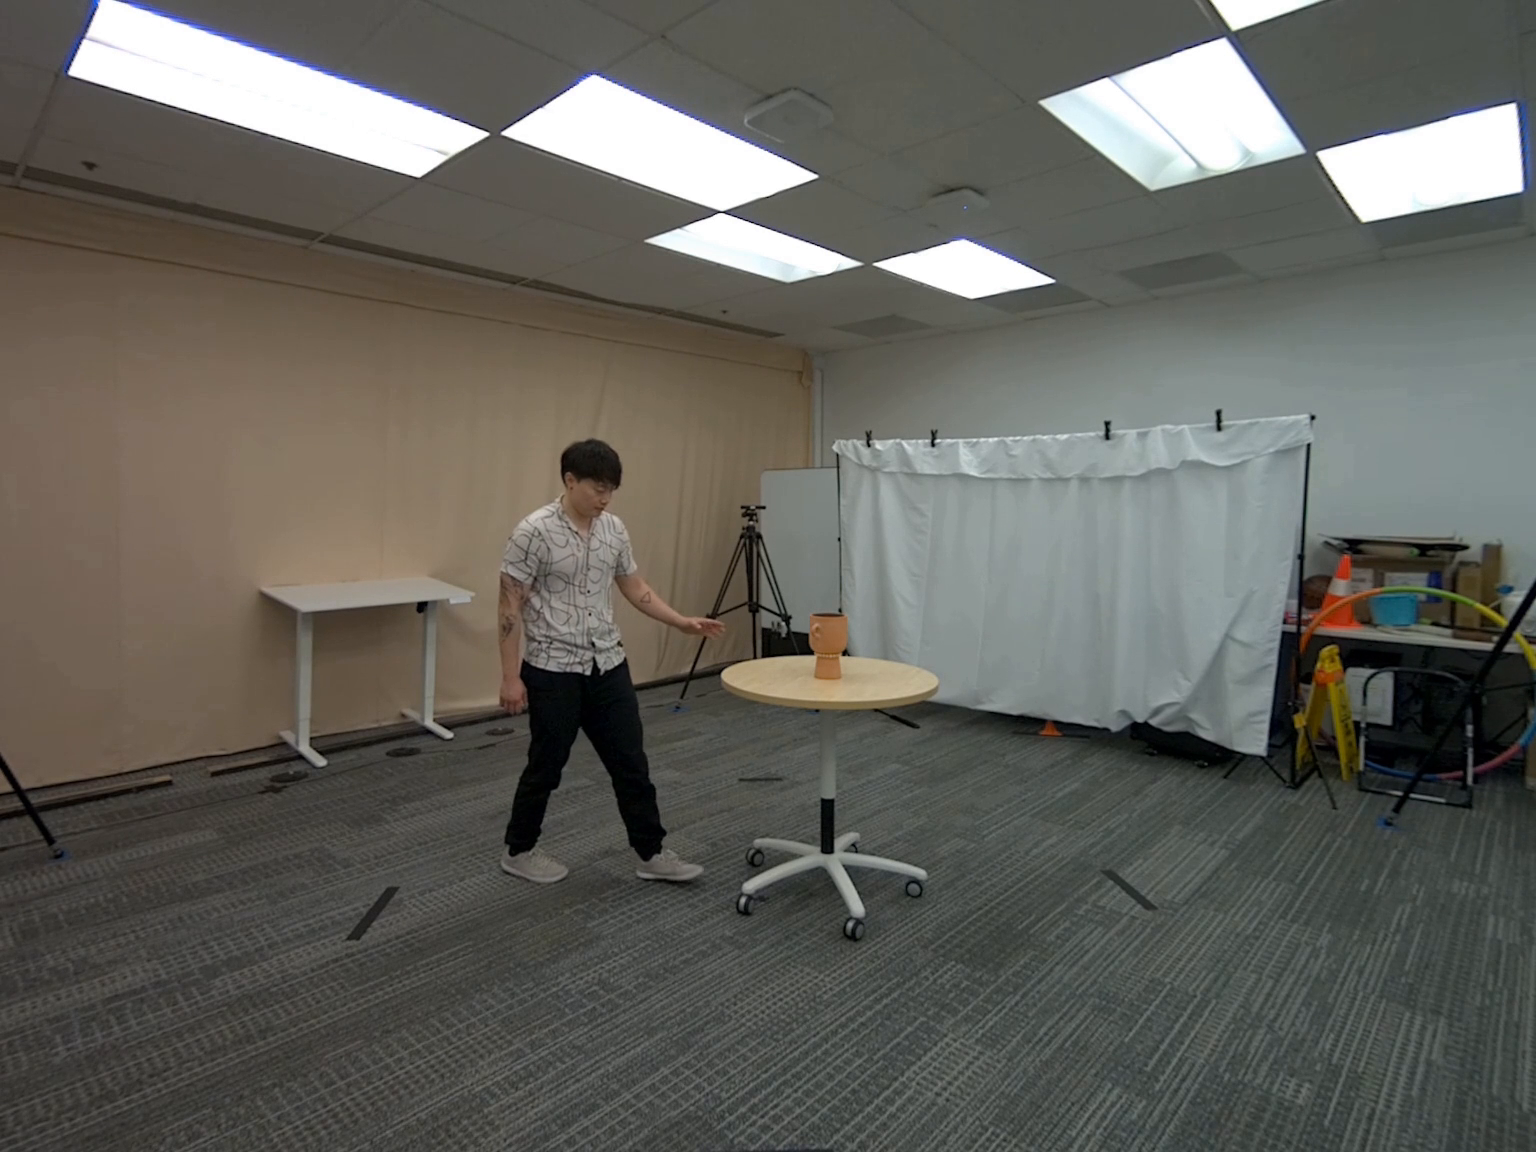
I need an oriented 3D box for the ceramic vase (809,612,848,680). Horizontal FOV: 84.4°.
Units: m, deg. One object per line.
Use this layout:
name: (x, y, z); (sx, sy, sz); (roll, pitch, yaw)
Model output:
ceramic vase: (0.217, 0.251, 2.970); (0.157, 0.219, 0.136); (0, 3, -12)
